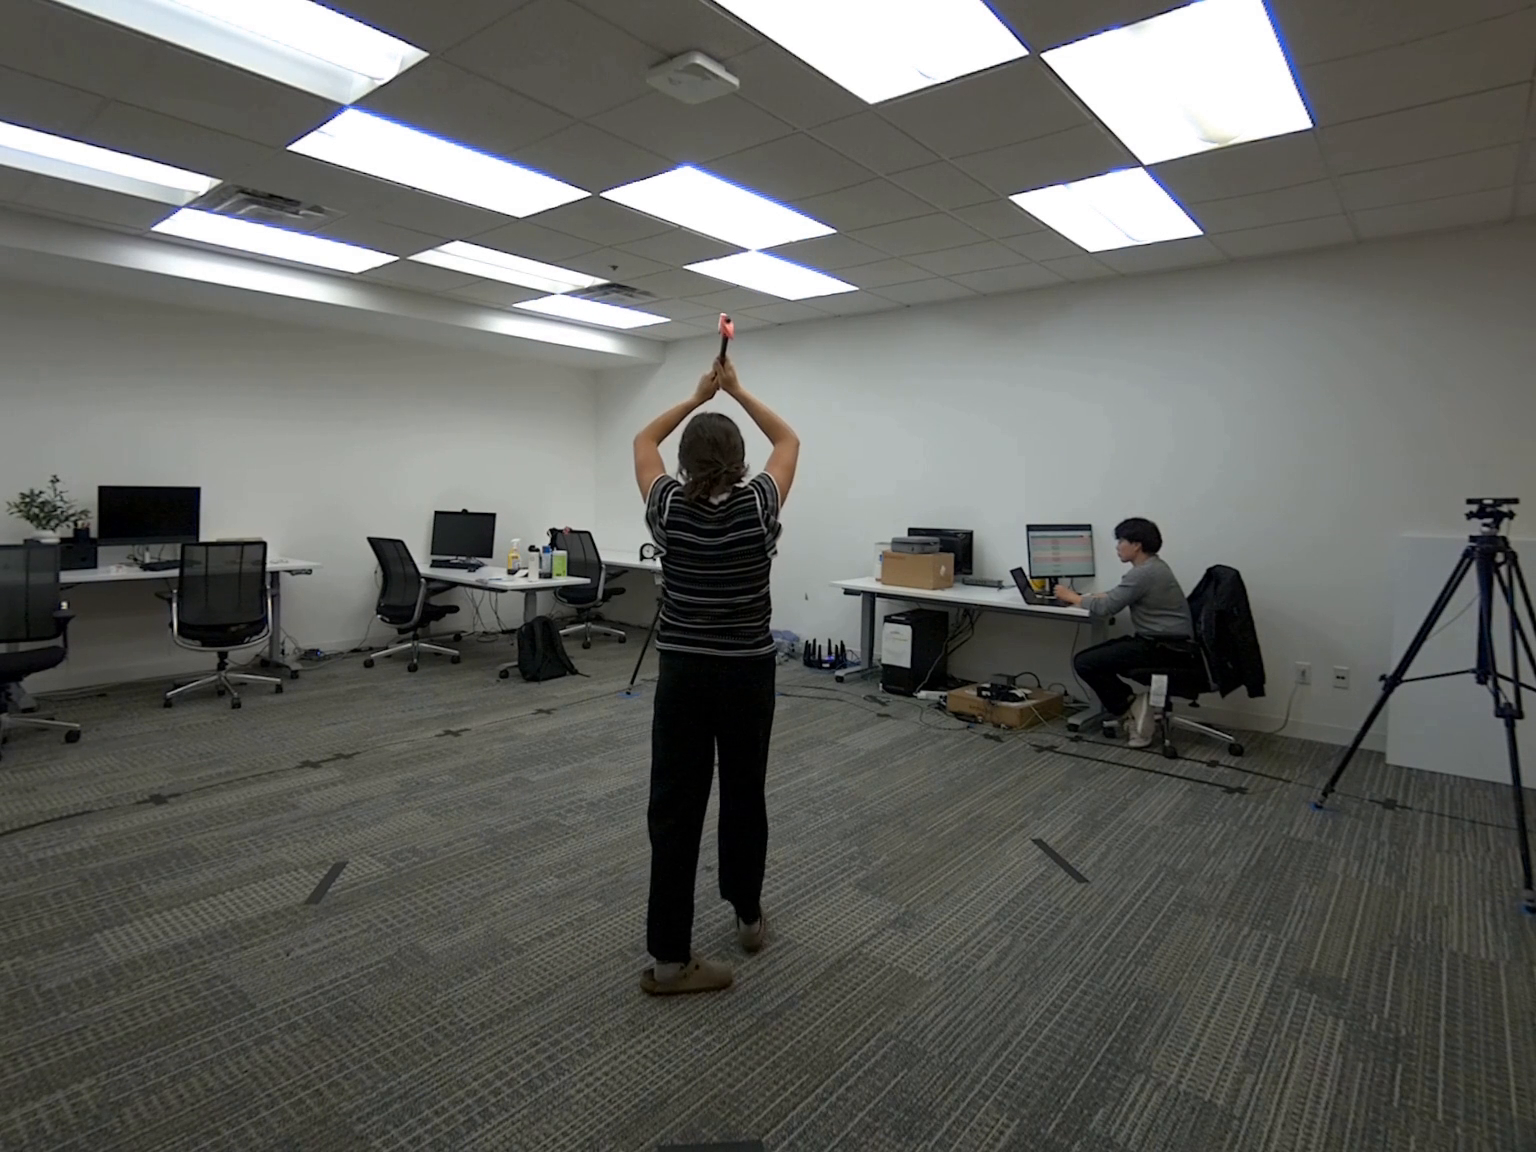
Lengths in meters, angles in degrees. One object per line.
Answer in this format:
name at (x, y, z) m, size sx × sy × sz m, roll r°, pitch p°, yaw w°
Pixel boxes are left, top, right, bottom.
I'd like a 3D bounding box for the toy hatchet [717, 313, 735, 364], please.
toy hatchet at (-0.154, -0.687, 2.567) m, size 0.029 × 0.134 × 0.268 m, roll -3°, pitch -25°, yaw -22°
